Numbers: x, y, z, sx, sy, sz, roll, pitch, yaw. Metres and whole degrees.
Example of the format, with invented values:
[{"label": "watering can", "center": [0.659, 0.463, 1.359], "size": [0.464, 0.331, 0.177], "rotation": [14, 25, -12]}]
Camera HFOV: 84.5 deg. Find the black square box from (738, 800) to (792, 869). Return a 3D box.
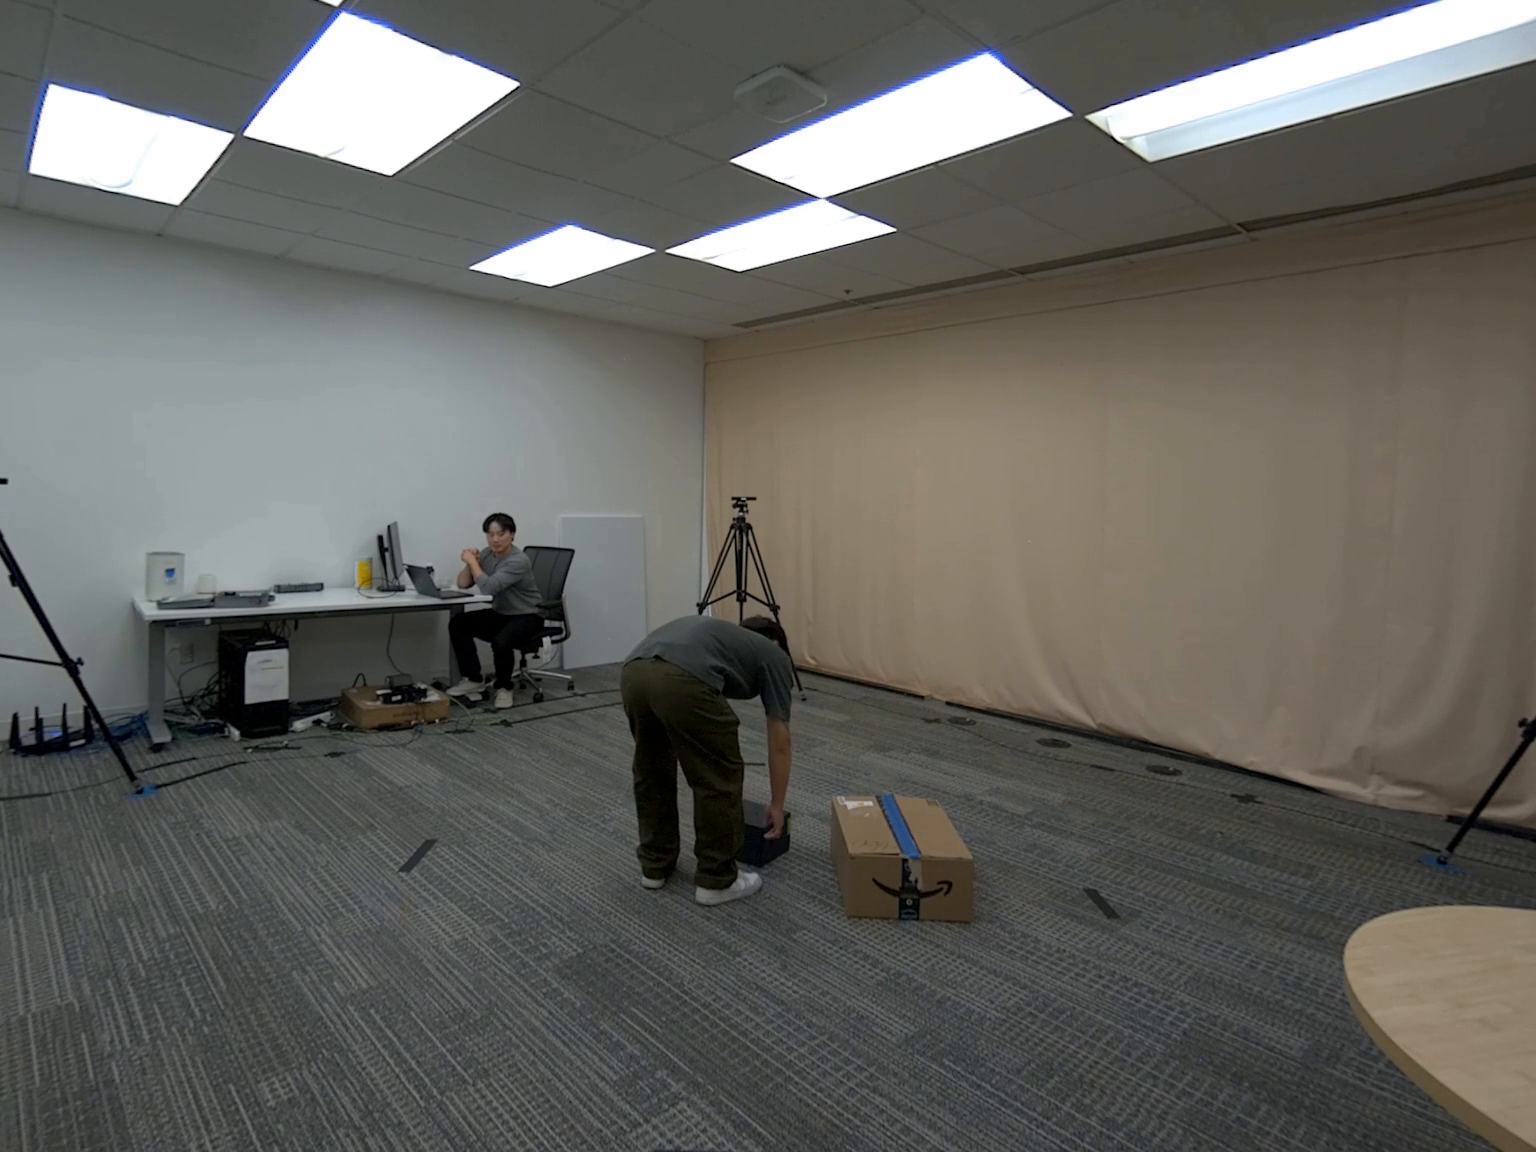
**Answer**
[{"label": "black square box", "center": [-0.069, 1.007, 3.316], "size": [0.233, 0.155, 0.212], "rotation": [4, 5, 34]}]
